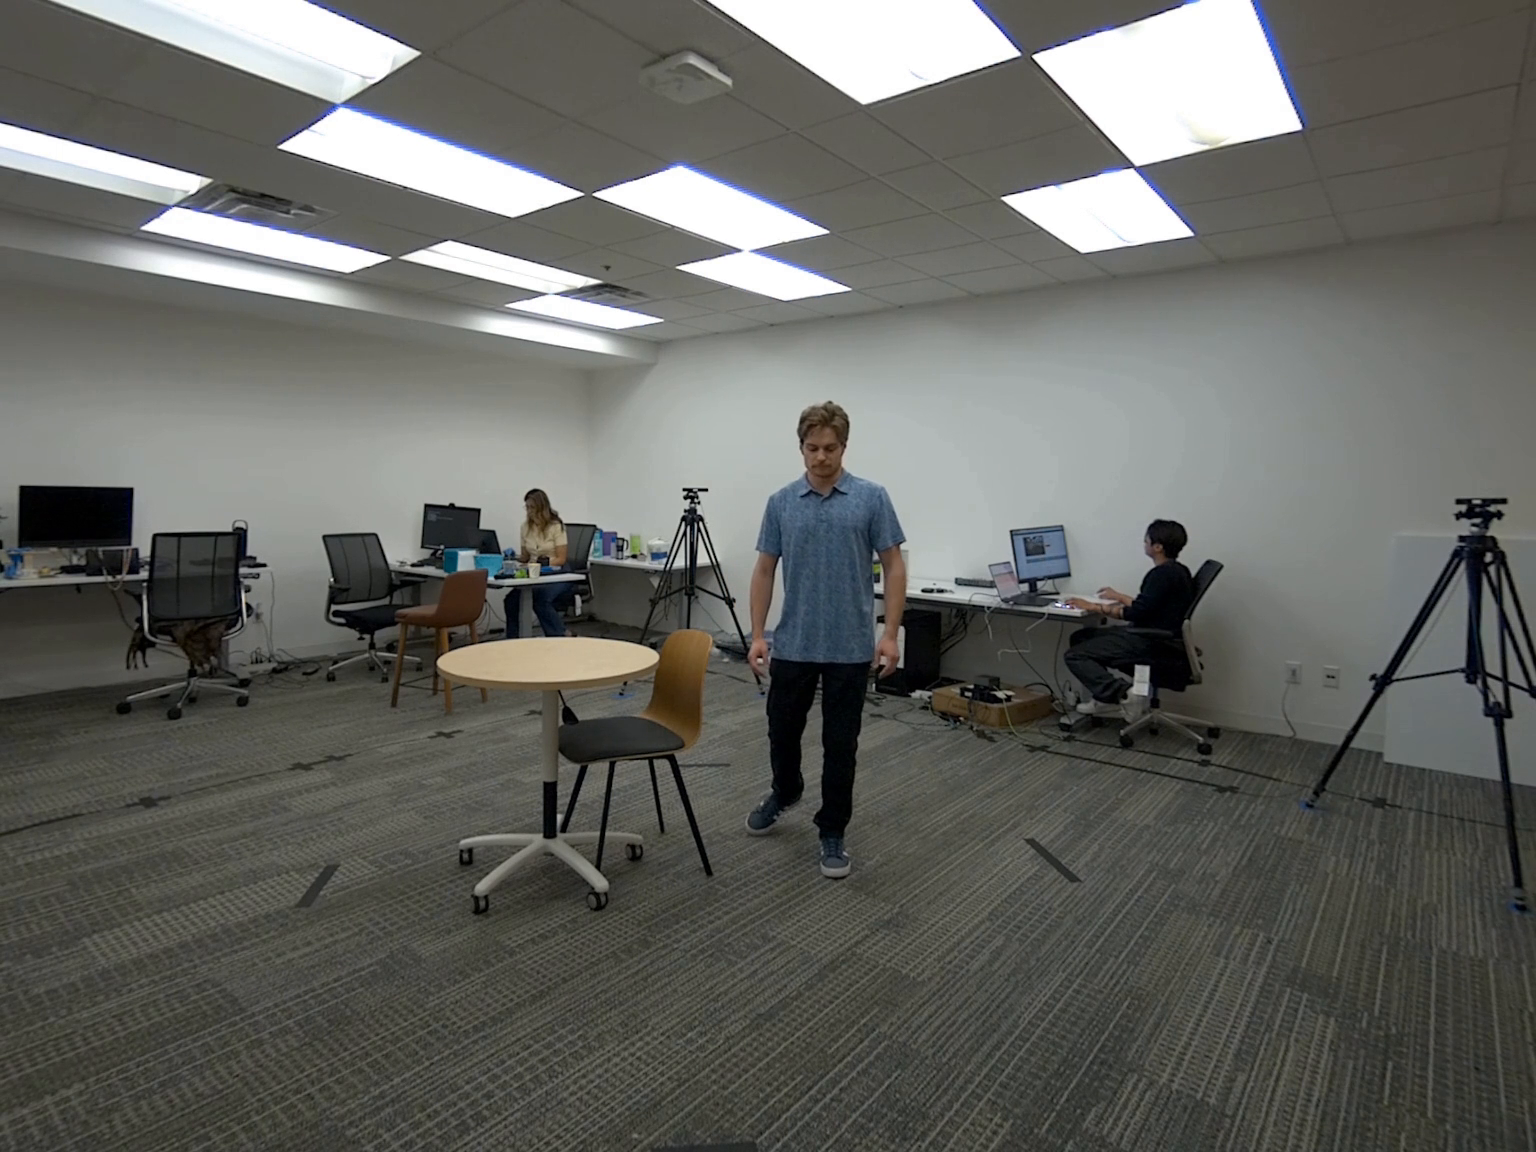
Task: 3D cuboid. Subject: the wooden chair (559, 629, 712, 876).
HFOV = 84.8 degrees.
[{"bbox_3d":[-0.513,0.634,3.123,0.508,0.876,0.492,4,1,-29],"label":"wooden chair"}]
